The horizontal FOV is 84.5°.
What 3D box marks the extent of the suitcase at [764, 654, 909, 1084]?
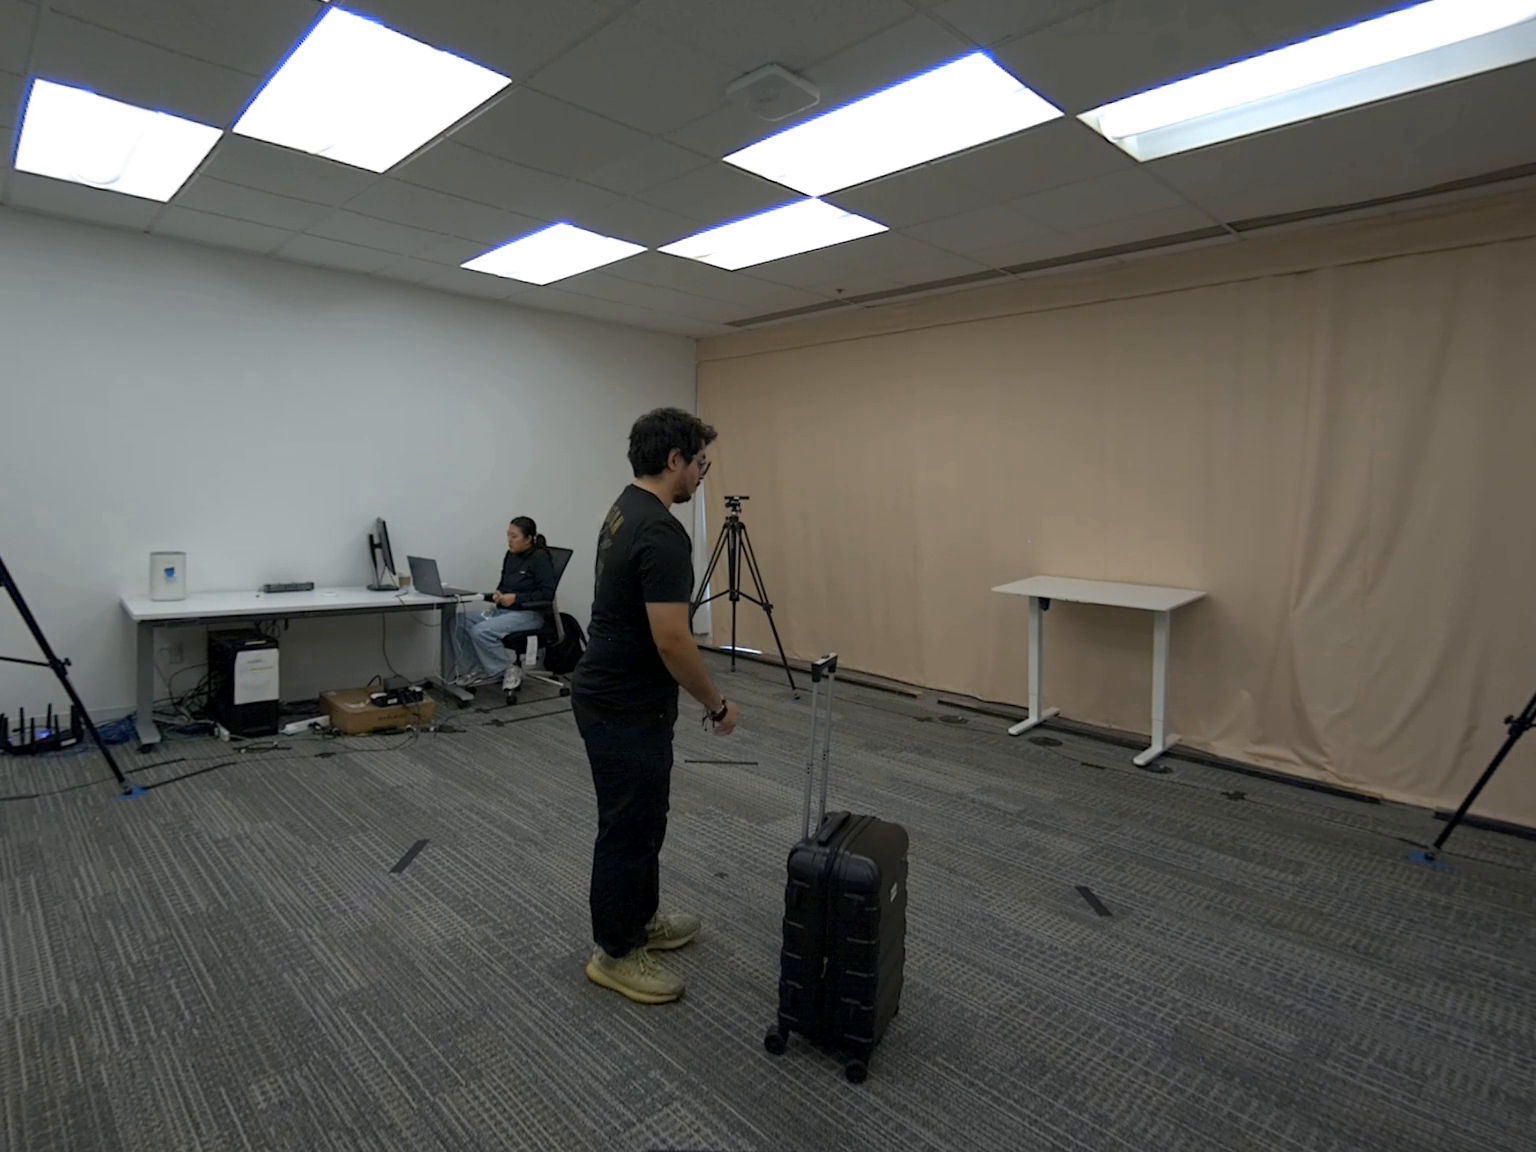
[{"bbox_3d":[0.211,0.724,2.179,0.262,0.976,0.378,6,4,21],"label":"suitcase"}]
